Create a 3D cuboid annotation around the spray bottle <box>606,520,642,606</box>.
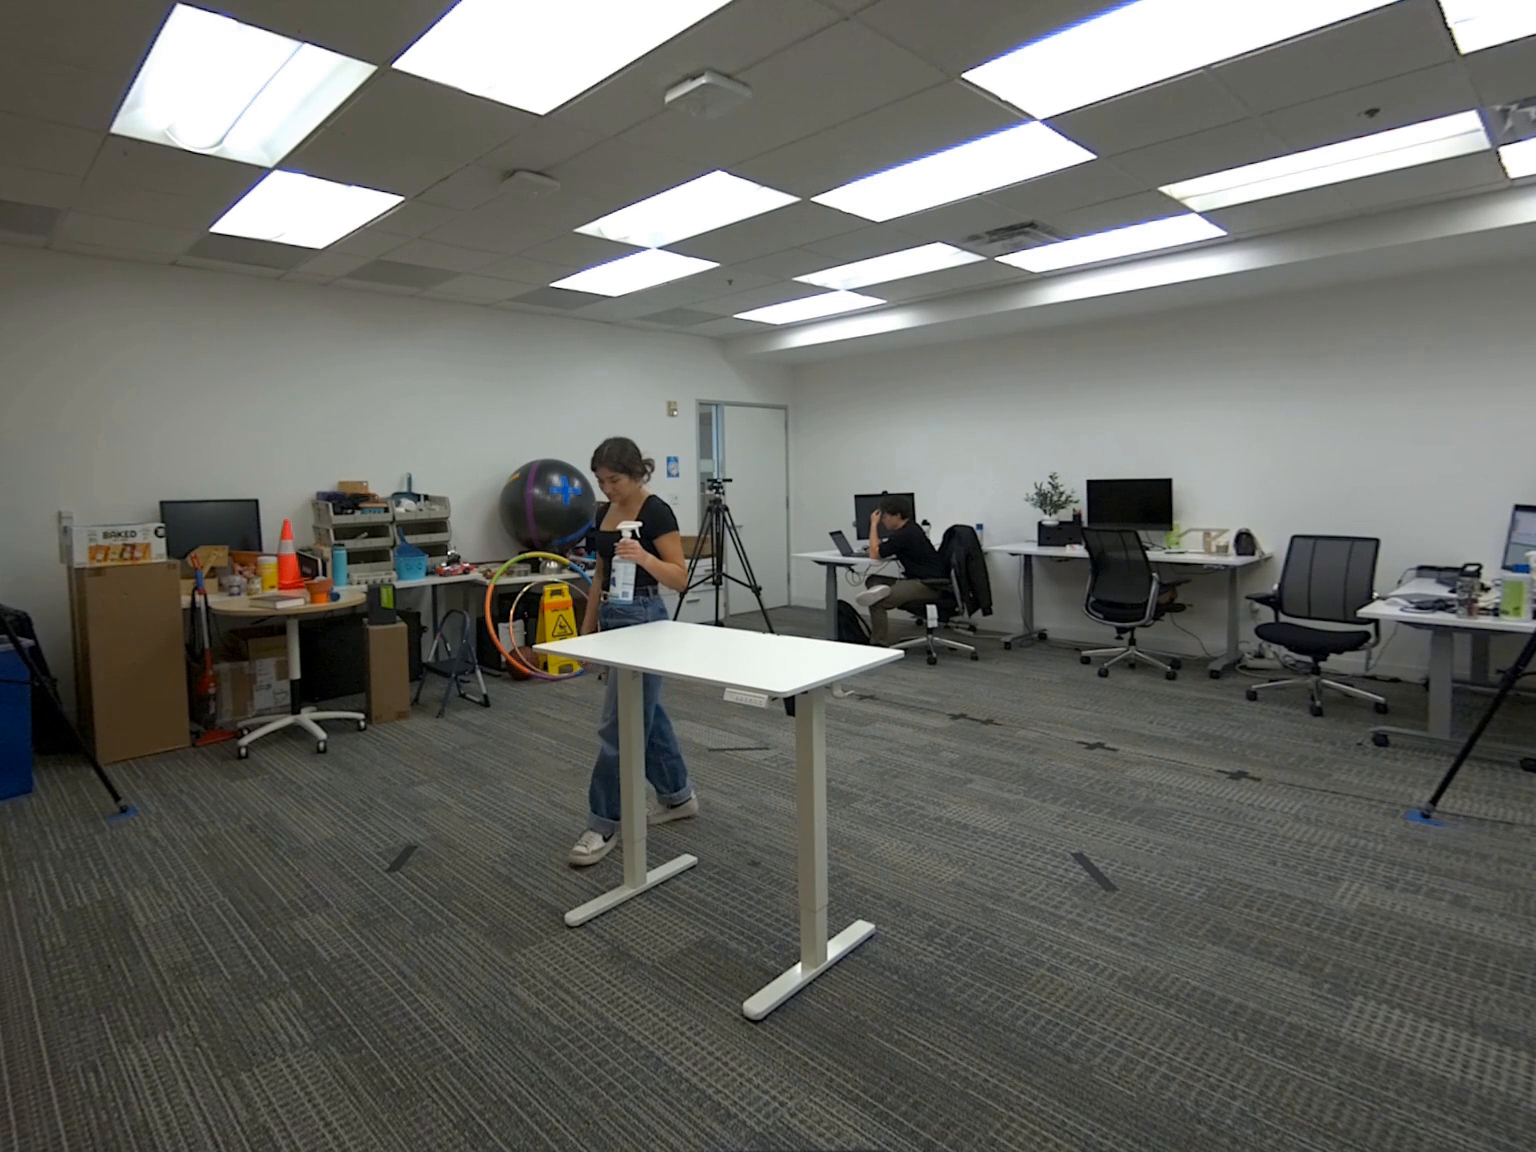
[{"bbox_3d":[-0.529,-0.045,3.069,0.093,0.297,0.084,6,0,34],"label":"spray bottle"}]
